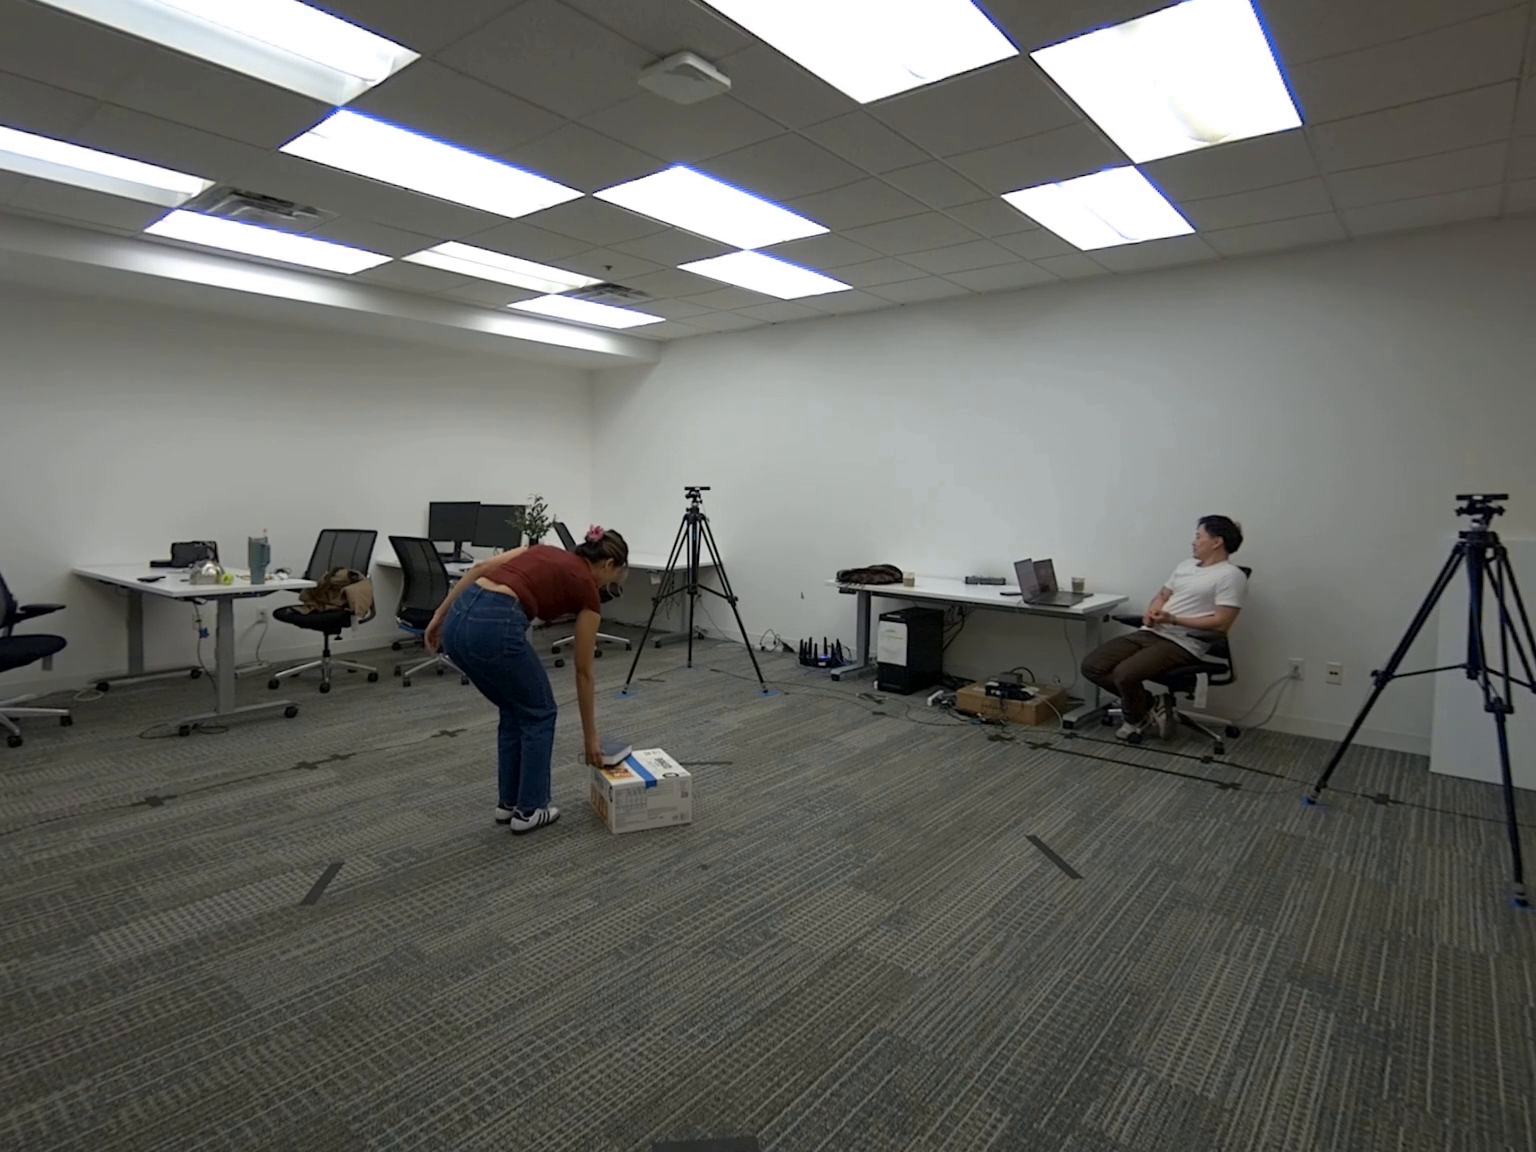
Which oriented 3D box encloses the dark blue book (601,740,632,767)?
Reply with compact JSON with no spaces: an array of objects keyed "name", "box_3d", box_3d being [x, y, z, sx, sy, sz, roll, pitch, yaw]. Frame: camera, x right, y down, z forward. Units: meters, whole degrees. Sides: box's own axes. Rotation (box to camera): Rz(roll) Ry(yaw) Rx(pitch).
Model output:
[{"name":"dark blue book","box_3d":[-0.727,0.779,3.712,0.165,0.045,0.242,0,1,11]}]
